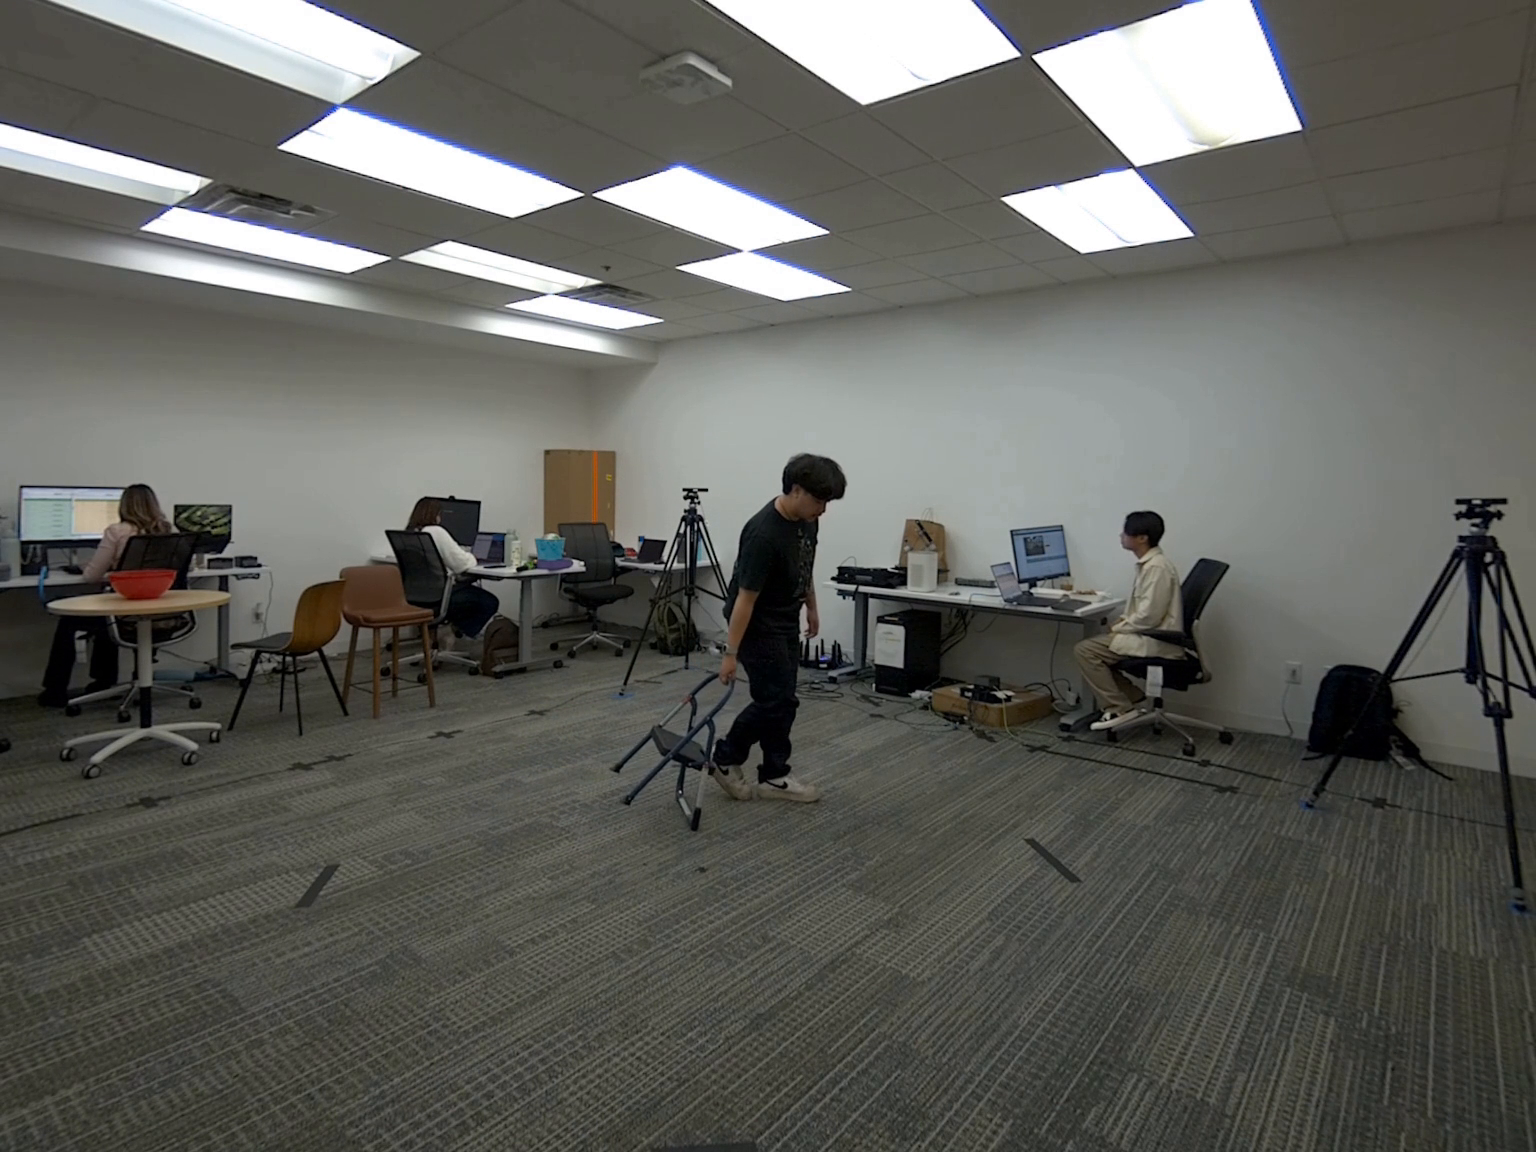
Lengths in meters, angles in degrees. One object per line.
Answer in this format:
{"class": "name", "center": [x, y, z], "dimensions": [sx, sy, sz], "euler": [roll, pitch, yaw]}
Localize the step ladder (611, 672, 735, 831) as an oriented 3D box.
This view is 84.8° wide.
{"class": "step ladder", "center": [-0.375, 0.676, 3.633], "dimensions": [0.342, 0.606, 0.439], "euler": [26, -2, -16]}
